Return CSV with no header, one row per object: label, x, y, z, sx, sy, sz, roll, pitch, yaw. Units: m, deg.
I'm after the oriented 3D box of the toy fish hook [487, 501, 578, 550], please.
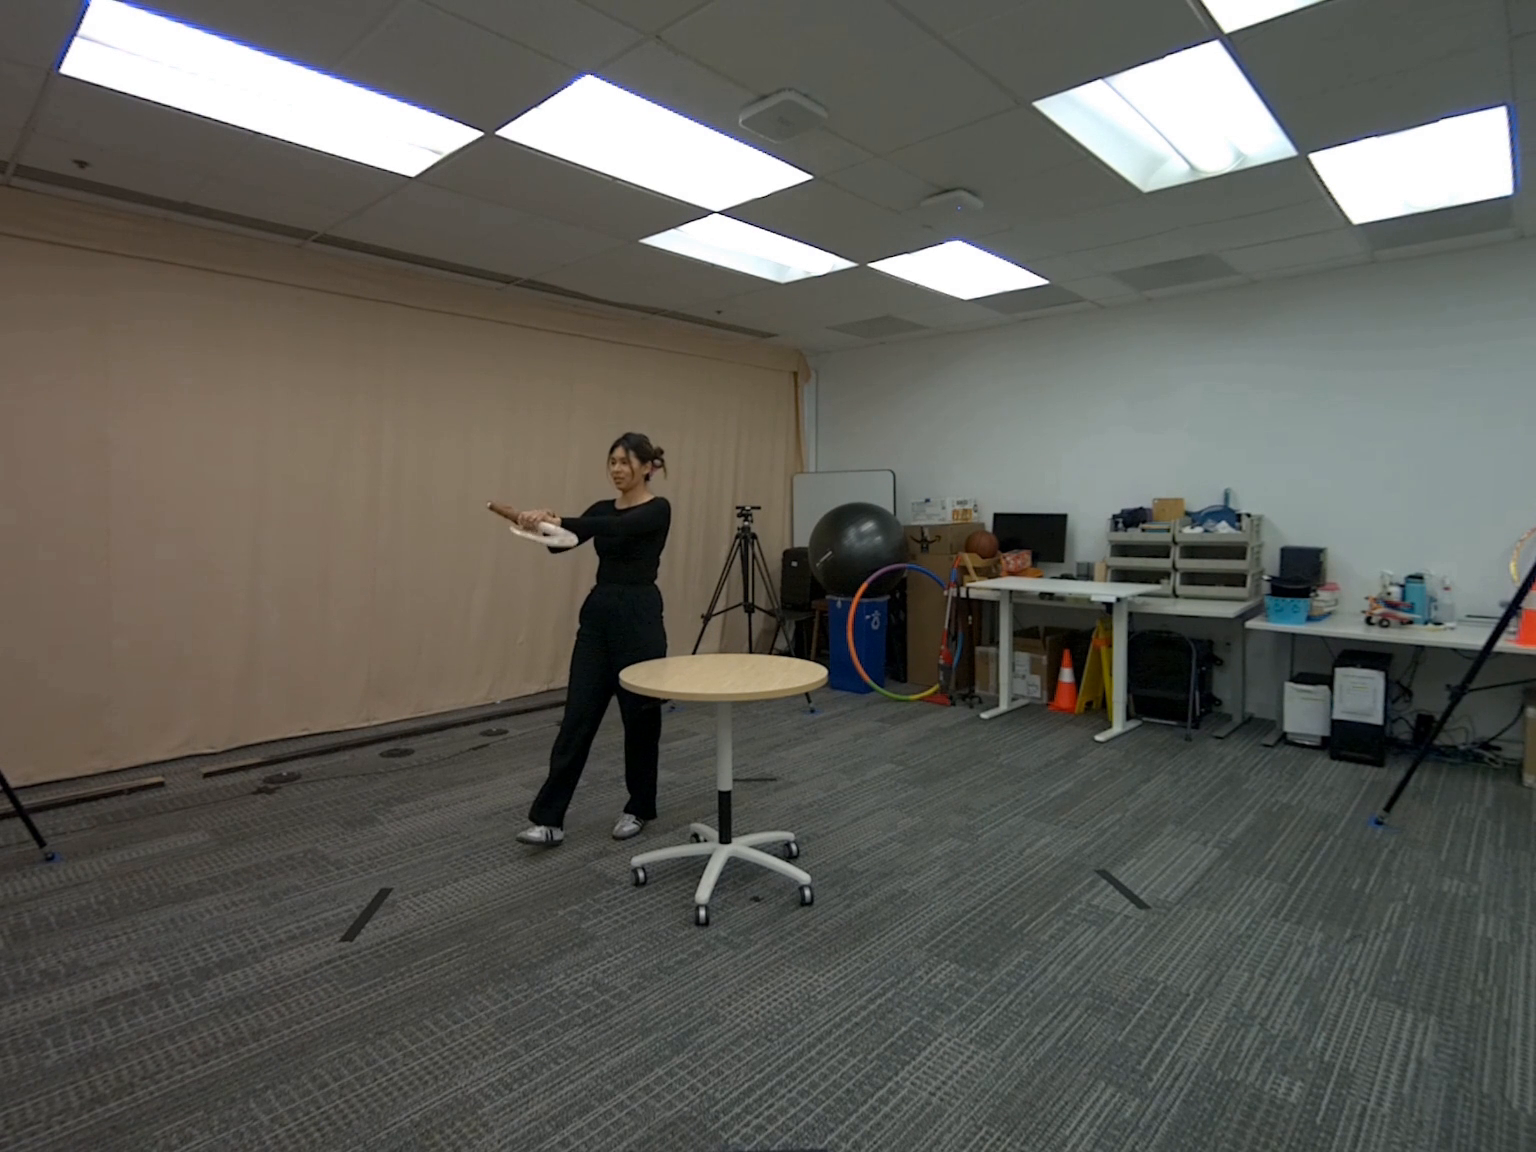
toy fish hook,-0.906,-0.197,3.059,0.524,0.048,0.217,21,10,34
